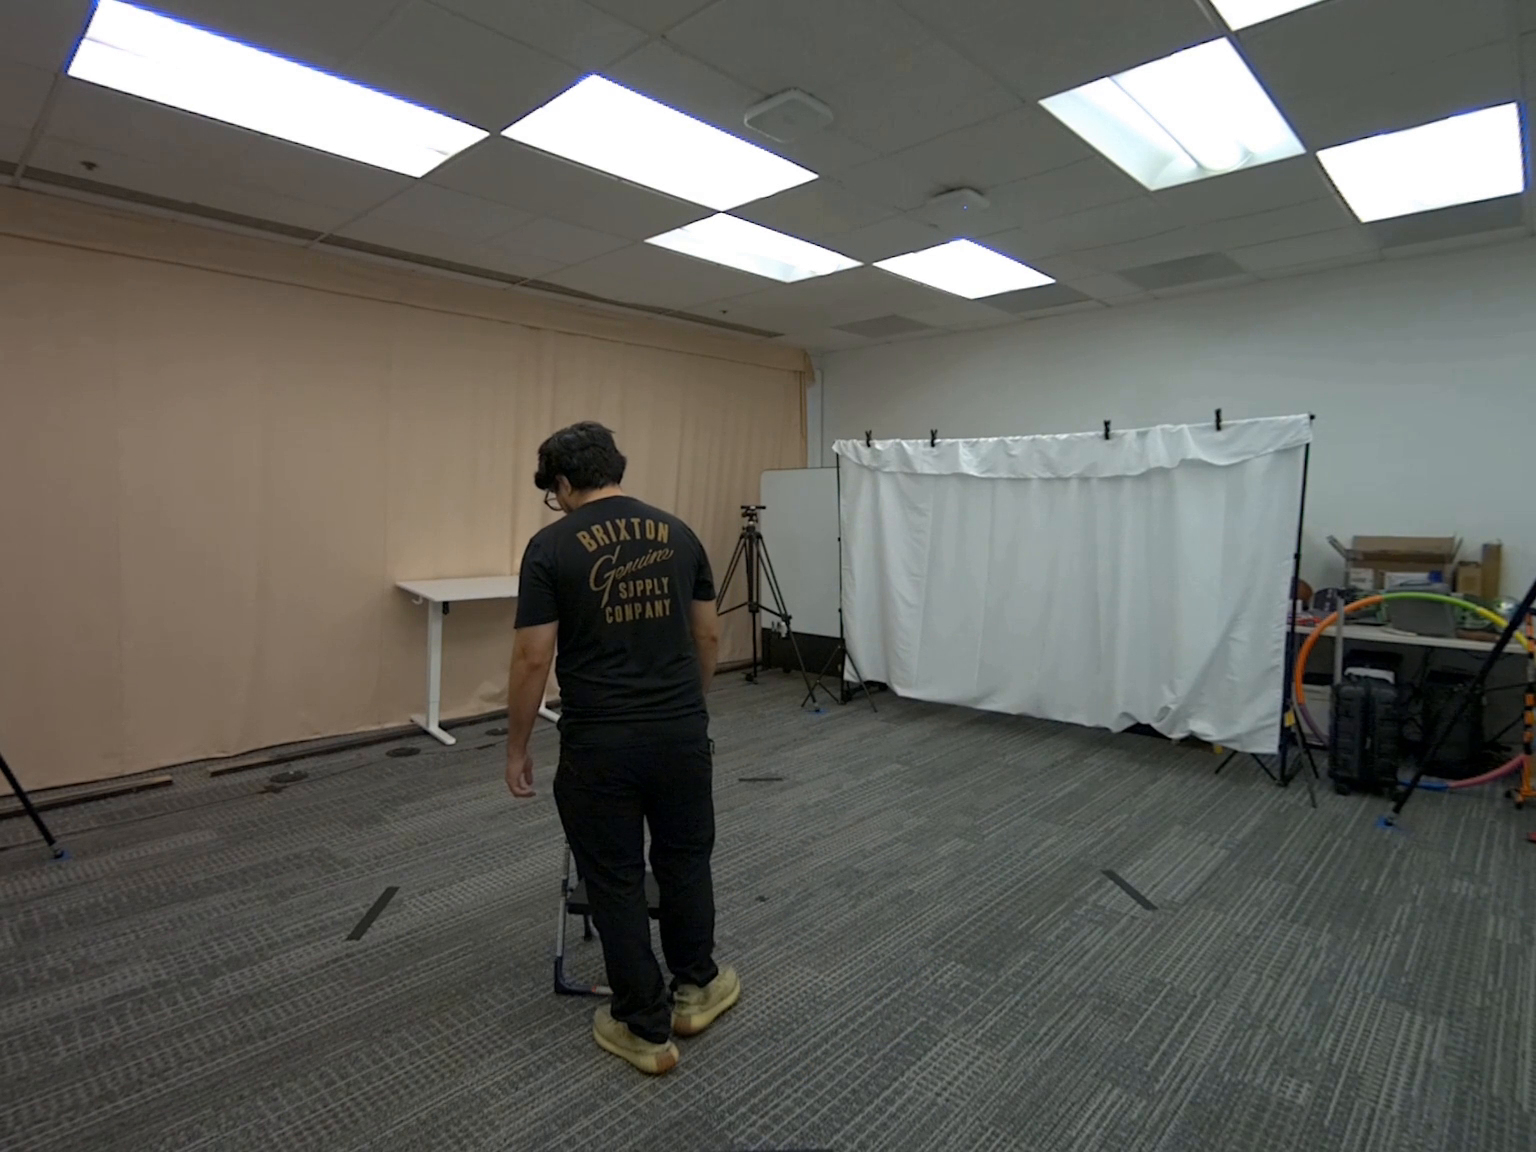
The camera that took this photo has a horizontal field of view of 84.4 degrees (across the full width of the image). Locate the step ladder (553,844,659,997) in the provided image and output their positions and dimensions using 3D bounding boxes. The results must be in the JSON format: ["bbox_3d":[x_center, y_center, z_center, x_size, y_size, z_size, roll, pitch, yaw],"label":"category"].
[{"bbox_3d":[-0.397,0.884,2.523,0.434,0.605,0.348,0,3,5],"label":"step ladder"}]
